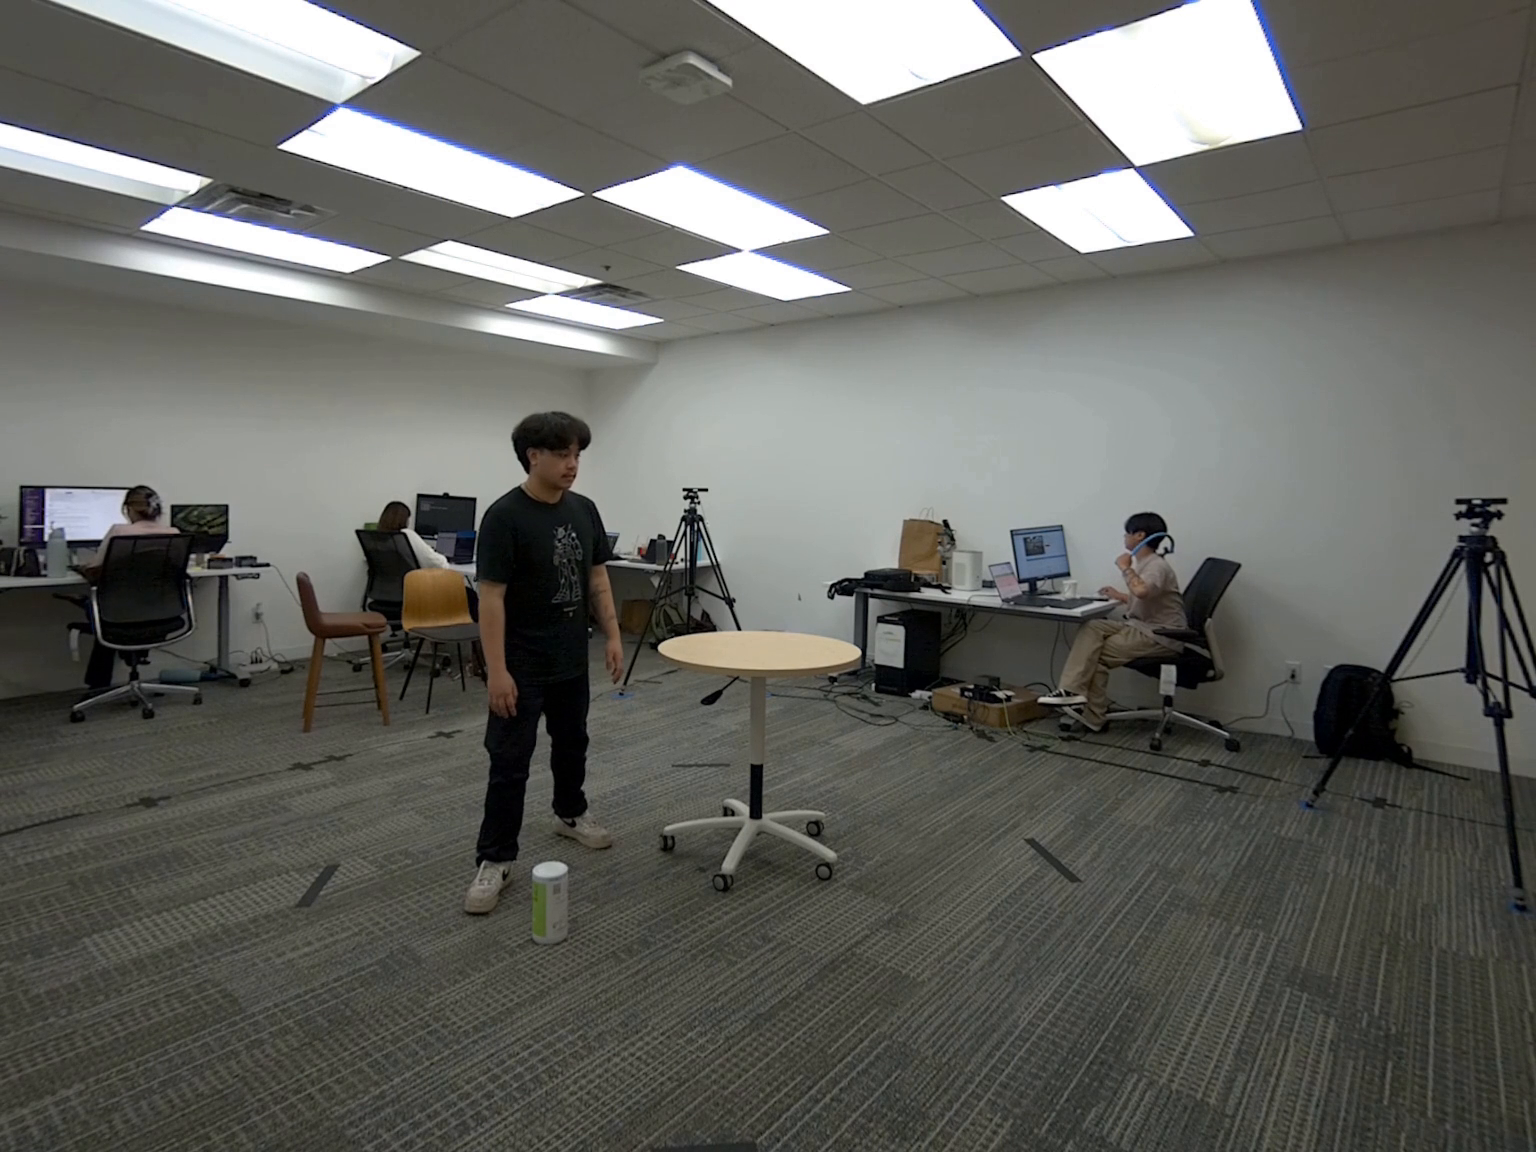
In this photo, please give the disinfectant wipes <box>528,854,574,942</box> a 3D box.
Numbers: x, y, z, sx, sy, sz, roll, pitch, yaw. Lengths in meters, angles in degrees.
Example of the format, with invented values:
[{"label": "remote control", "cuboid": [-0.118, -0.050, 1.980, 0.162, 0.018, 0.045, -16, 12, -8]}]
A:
[{"label": "disinfectant wipes", "cuboid": [-0.674, 0.996, 2.611, 0.118, 0.217, 0.118, 1, 3, -2]}]
